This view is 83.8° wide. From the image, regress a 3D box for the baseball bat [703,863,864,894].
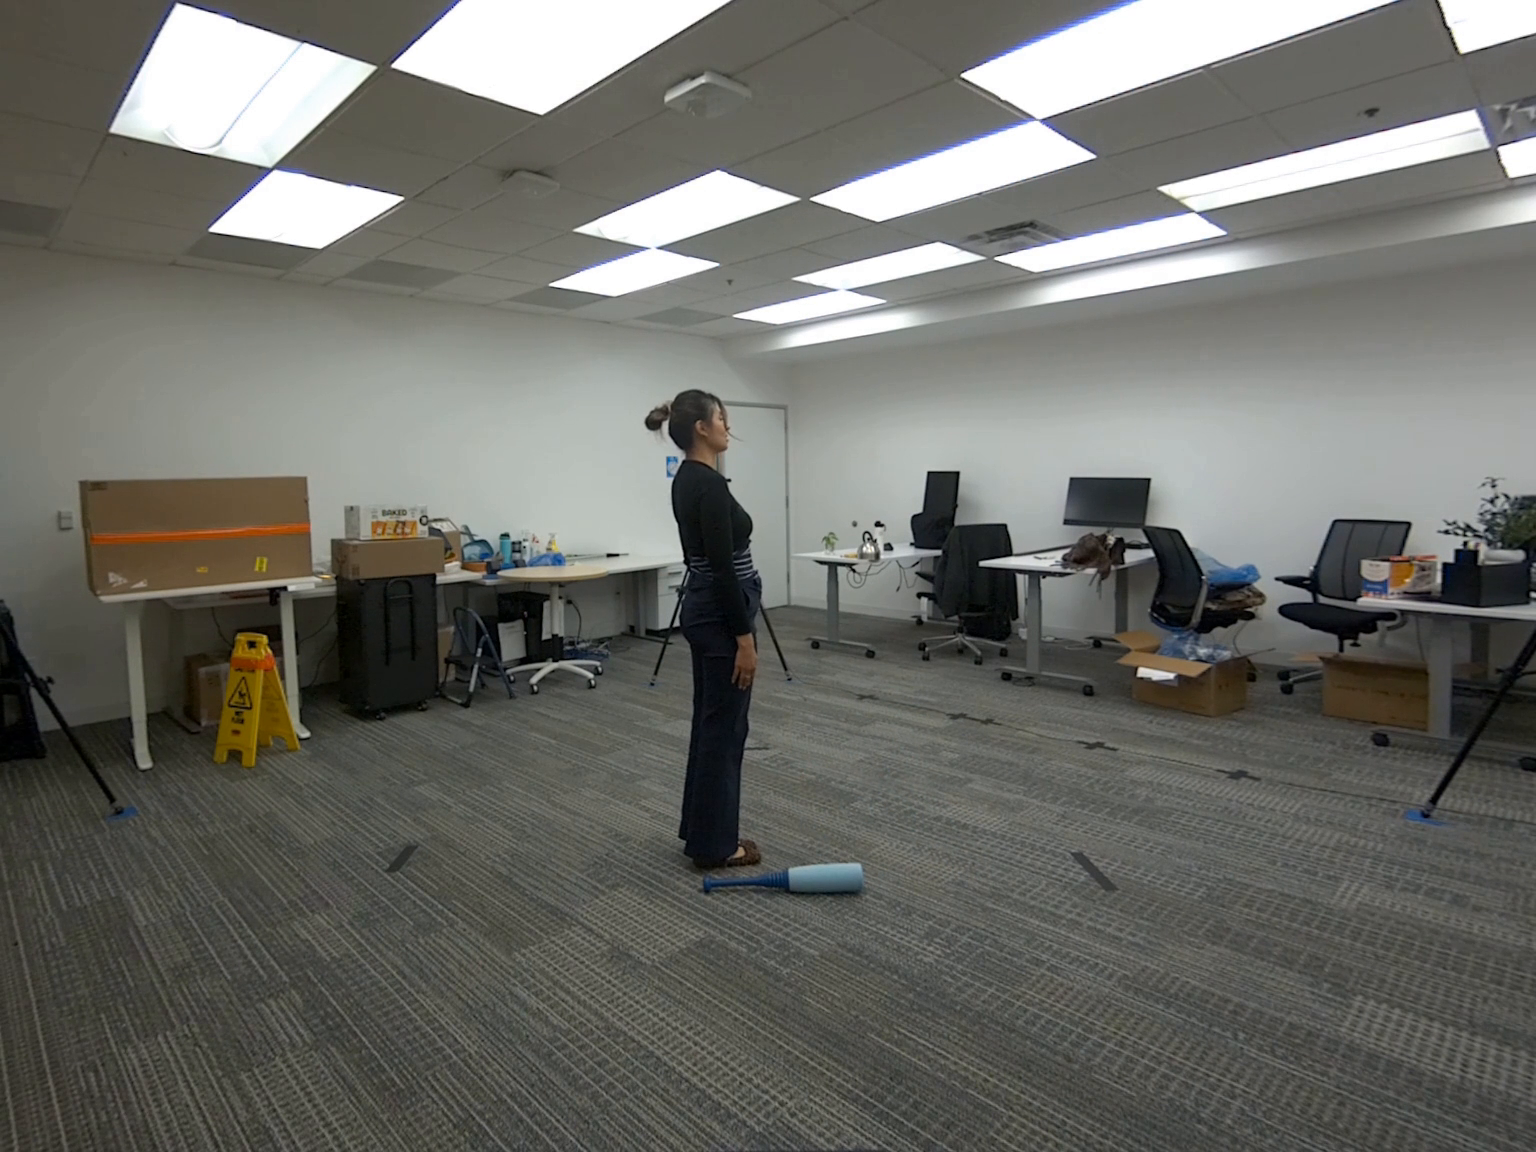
[{"bbox_3d":[0.058,1.036,2.881,0.543,0.089,0.089,-5,5,1],"label":"baseball bat"}]
